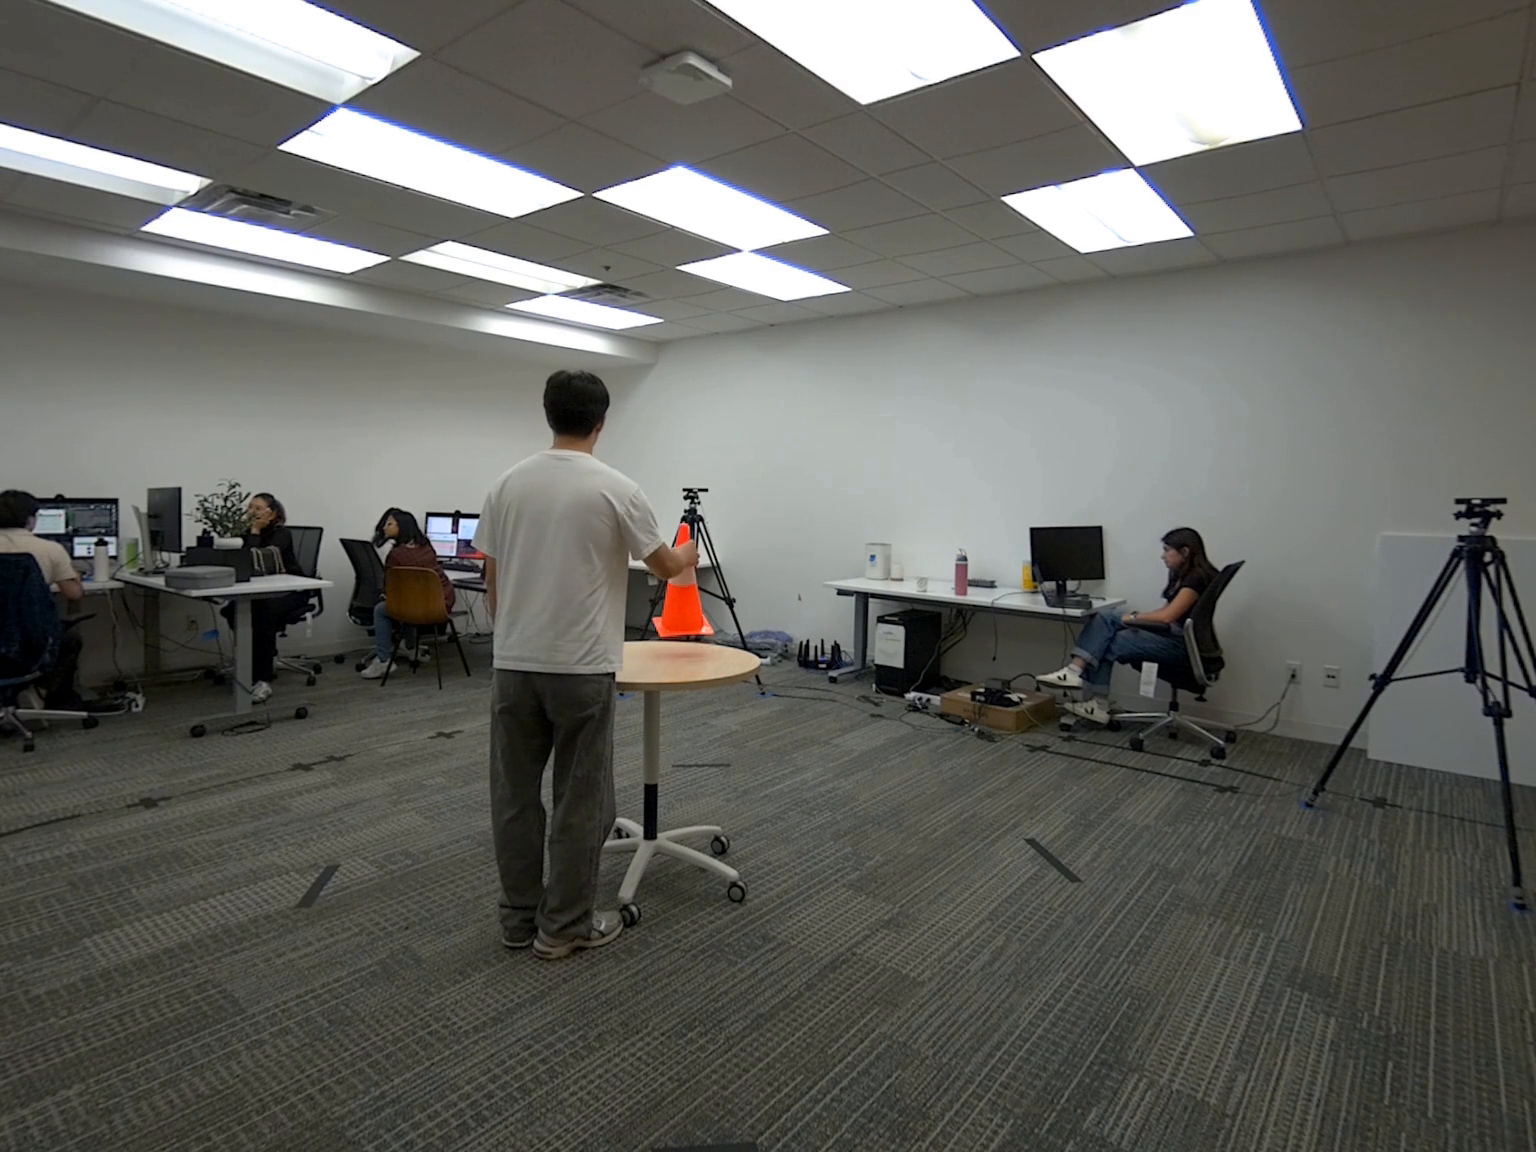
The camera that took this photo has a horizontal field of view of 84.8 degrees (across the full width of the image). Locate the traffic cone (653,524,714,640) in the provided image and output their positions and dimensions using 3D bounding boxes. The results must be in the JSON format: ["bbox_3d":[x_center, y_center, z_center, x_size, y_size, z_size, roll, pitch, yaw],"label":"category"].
[{"bbox_3d":[-0.307,0.004,3.062,0.202,0.379,0.208,0,12,-12],"label":"traffic cone"}]
